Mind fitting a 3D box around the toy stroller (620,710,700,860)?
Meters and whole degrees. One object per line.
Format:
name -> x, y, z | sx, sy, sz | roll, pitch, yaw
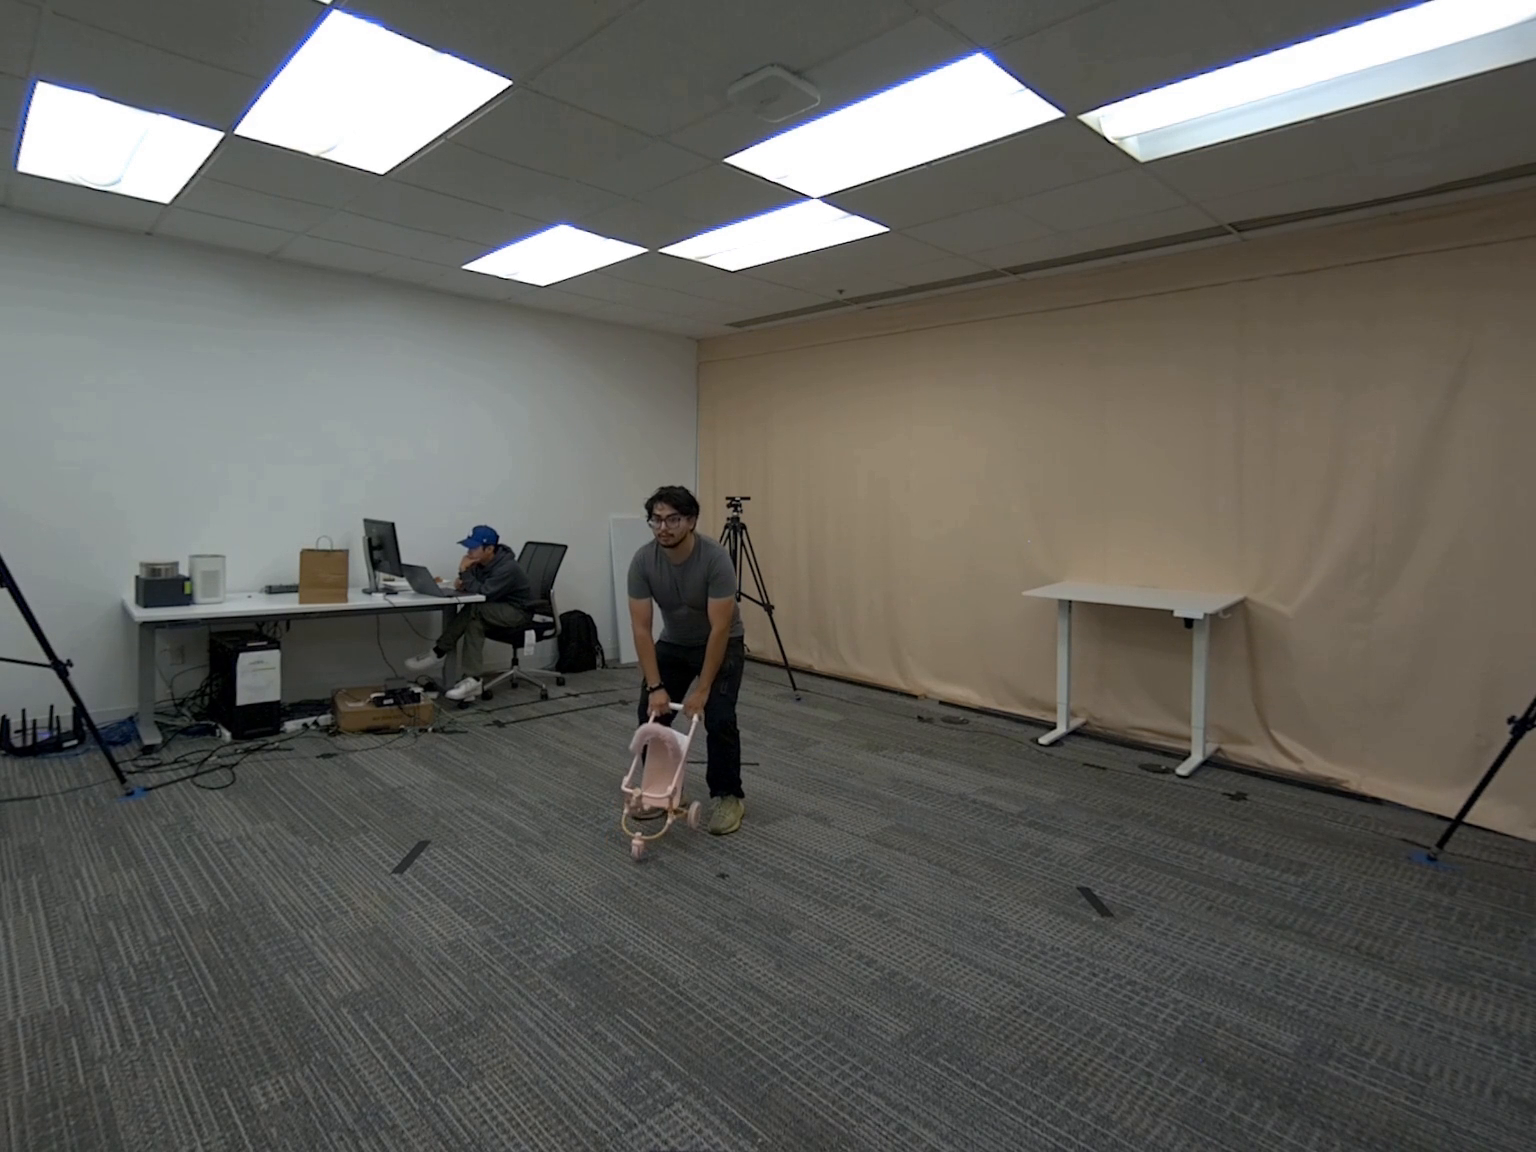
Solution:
toy stroller -> -0.456, 0.803, 3.306 | 0.287, 0.533, 0.336 | 7, 4, 23
